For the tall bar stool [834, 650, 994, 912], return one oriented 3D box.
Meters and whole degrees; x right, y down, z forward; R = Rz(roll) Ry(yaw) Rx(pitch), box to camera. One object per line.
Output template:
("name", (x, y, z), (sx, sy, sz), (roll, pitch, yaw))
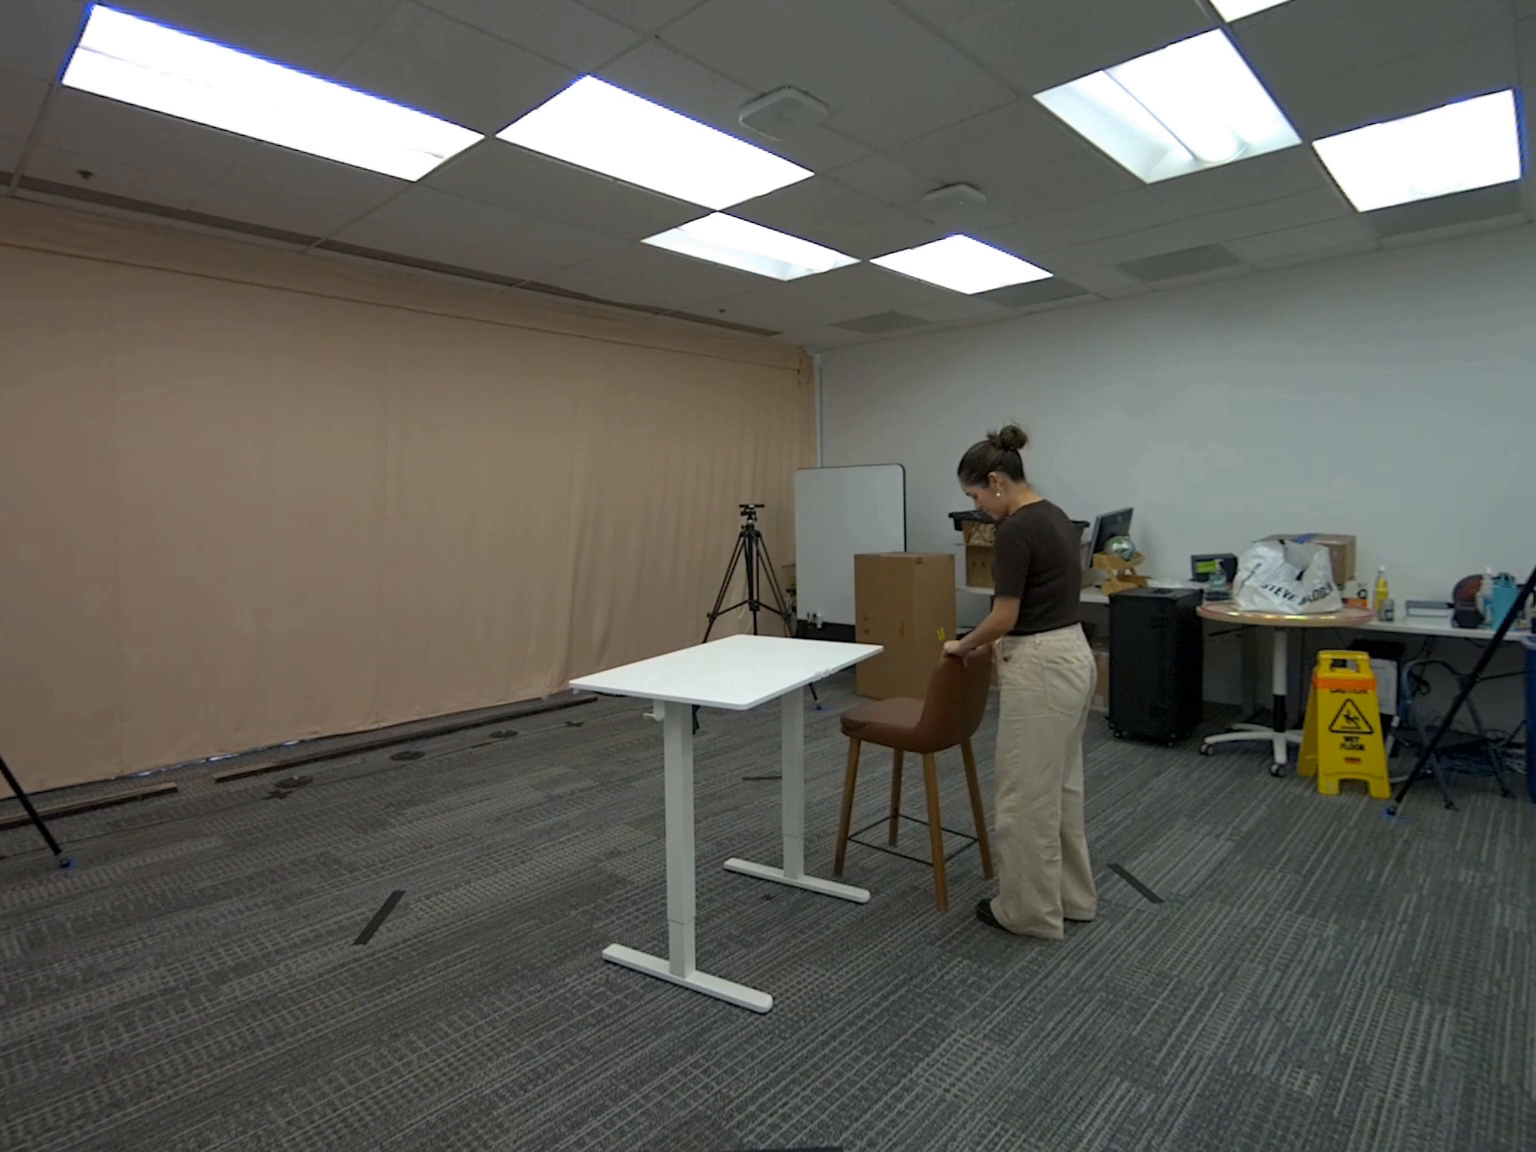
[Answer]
("tall bar stool", (0.552, 0.677, 3.108), (0.483, 0.887, 0.442), (6, 6, 42))
